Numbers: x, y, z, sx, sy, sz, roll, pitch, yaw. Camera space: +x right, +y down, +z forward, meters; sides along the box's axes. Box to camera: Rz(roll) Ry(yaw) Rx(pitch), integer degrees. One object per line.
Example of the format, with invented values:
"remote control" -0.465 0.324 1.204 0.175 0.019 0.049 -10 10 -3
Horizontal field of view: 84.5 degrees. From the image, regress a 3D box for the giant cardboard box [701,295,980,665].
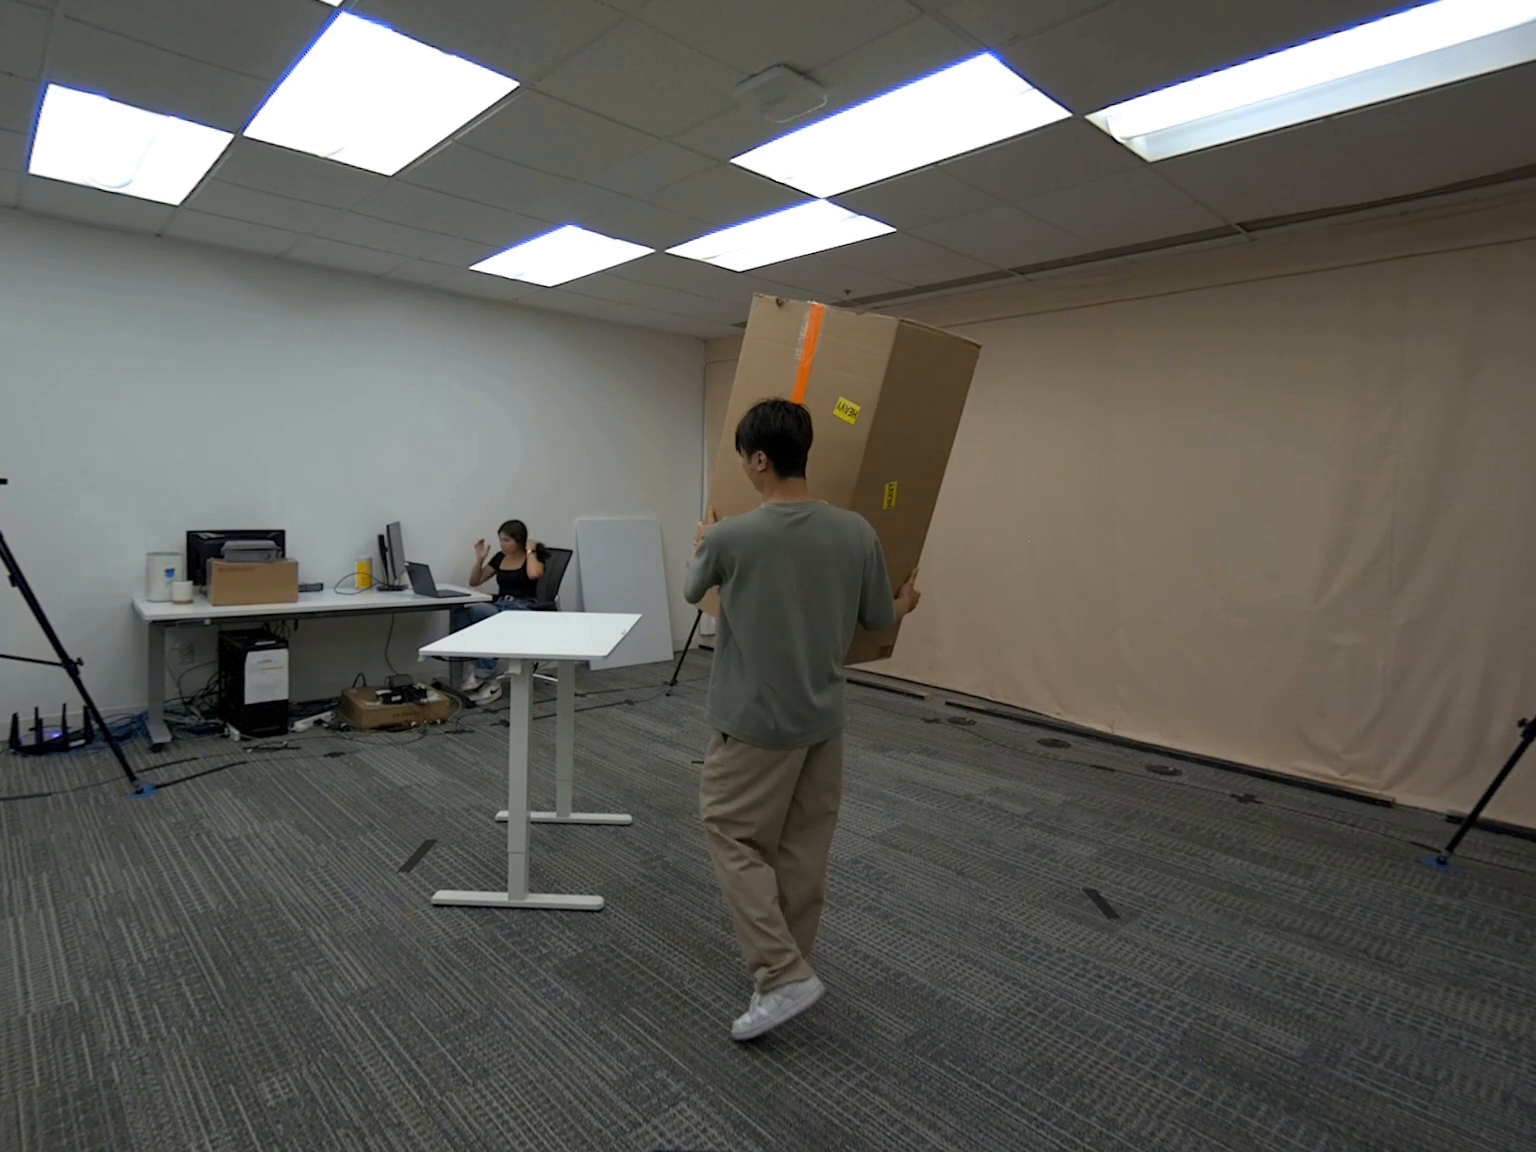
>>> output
"giant cardboard box" 0.170 -0.296 2.650 0.416 1.018 0.595 -1 19 -45
